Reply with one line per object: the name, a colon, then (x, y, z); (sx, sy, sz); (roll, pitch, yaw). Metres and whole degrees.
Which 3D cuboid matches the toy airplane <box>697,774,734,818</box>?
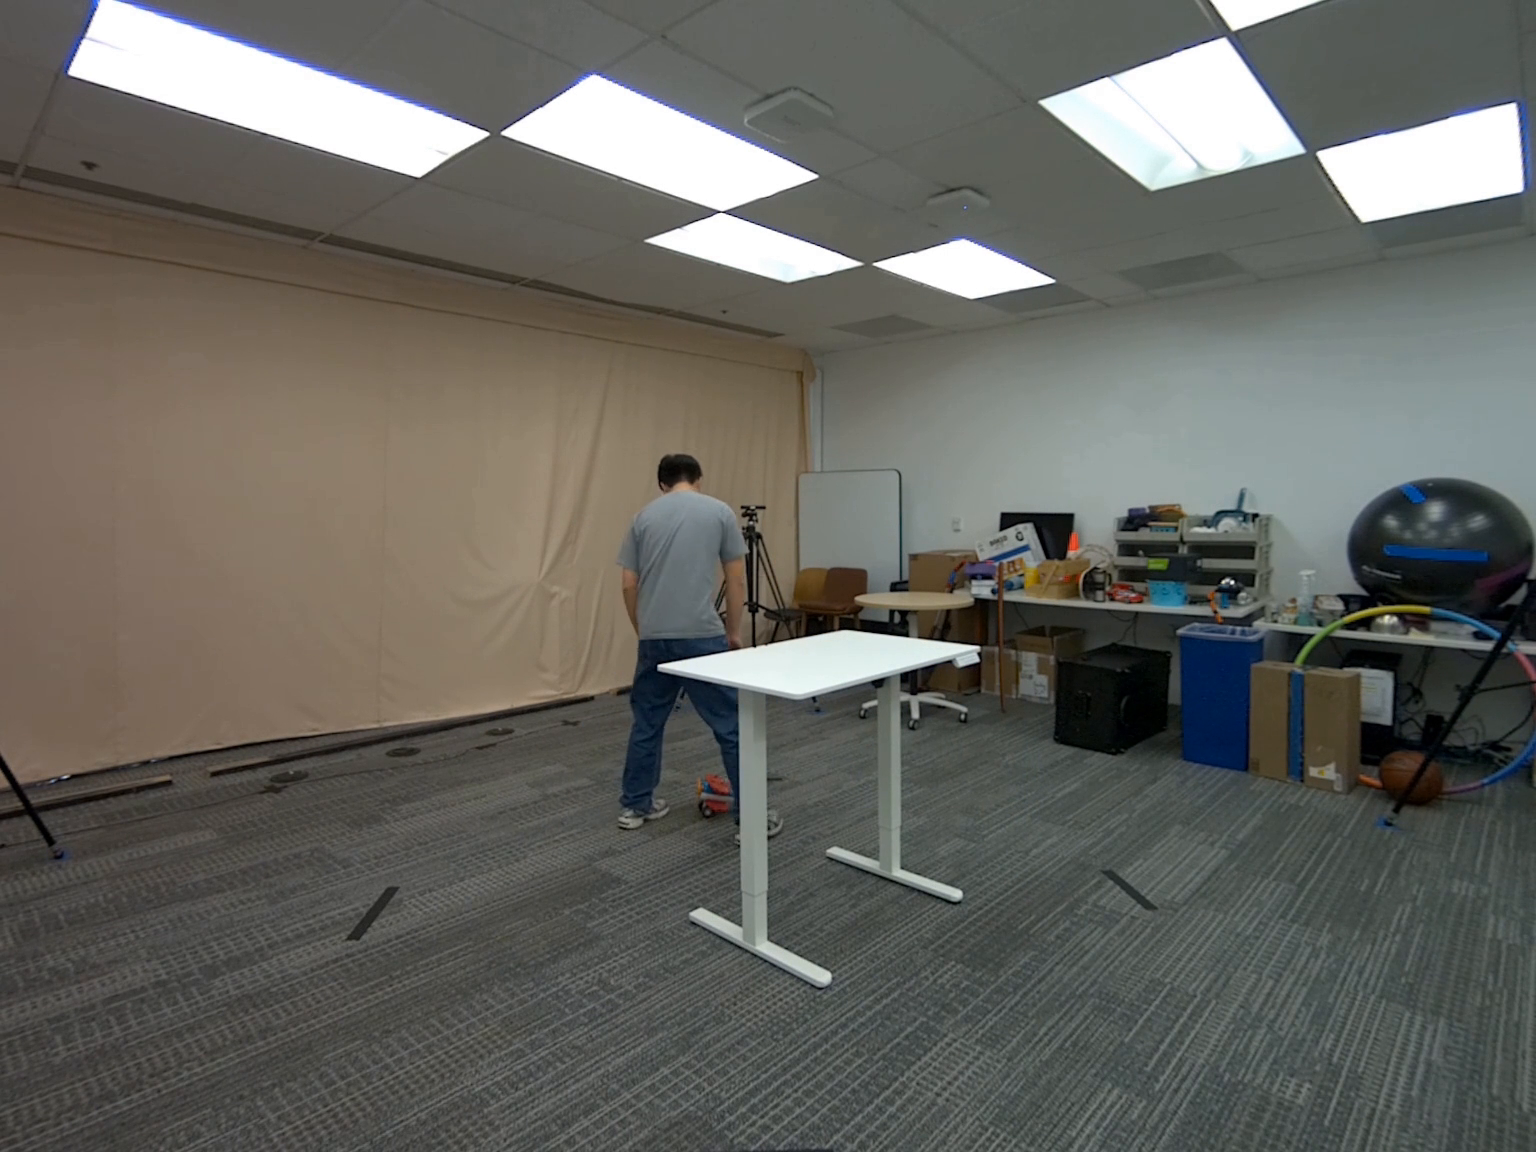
toy airplane: (-0.208, 1.001, 3.836); (0.251, 0.156, 0.259); (-5, 6, -42)
